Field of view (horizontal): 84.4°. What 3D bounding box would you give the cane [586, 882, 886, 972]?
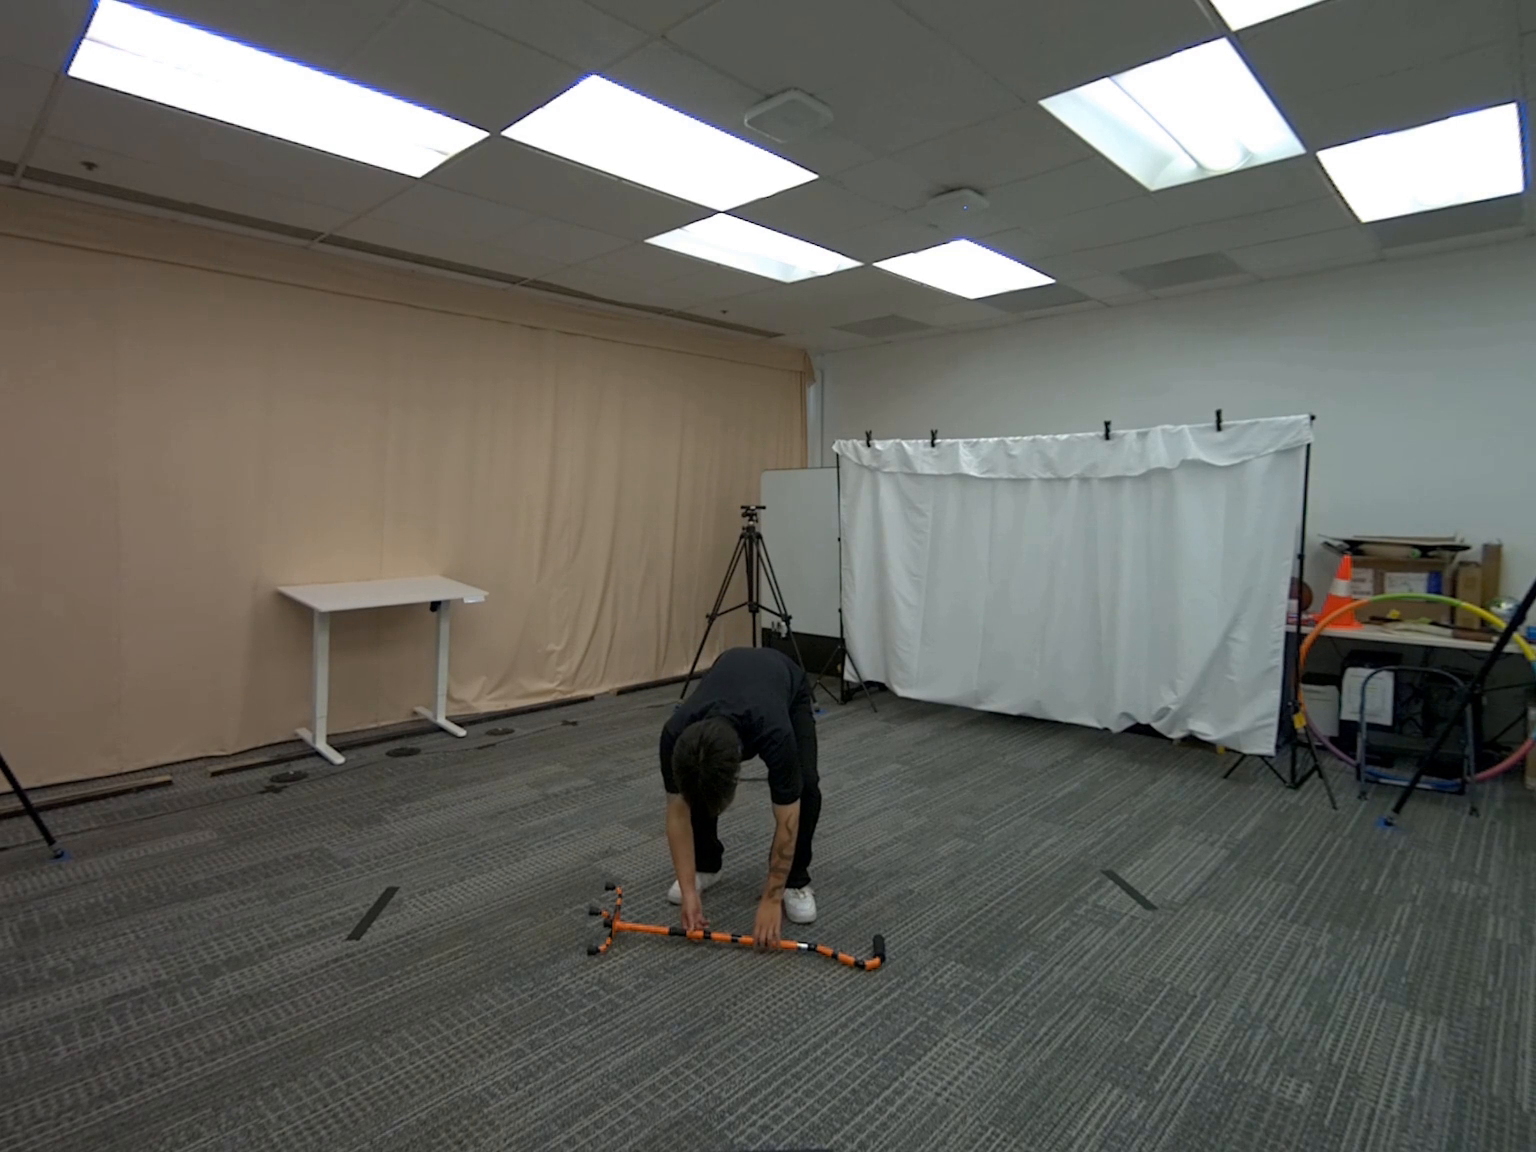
[{"bbox_3d":[-0.089,1.116,2.639,0.916,0.151,0.205,4,6,7],"label":"cane"}]
